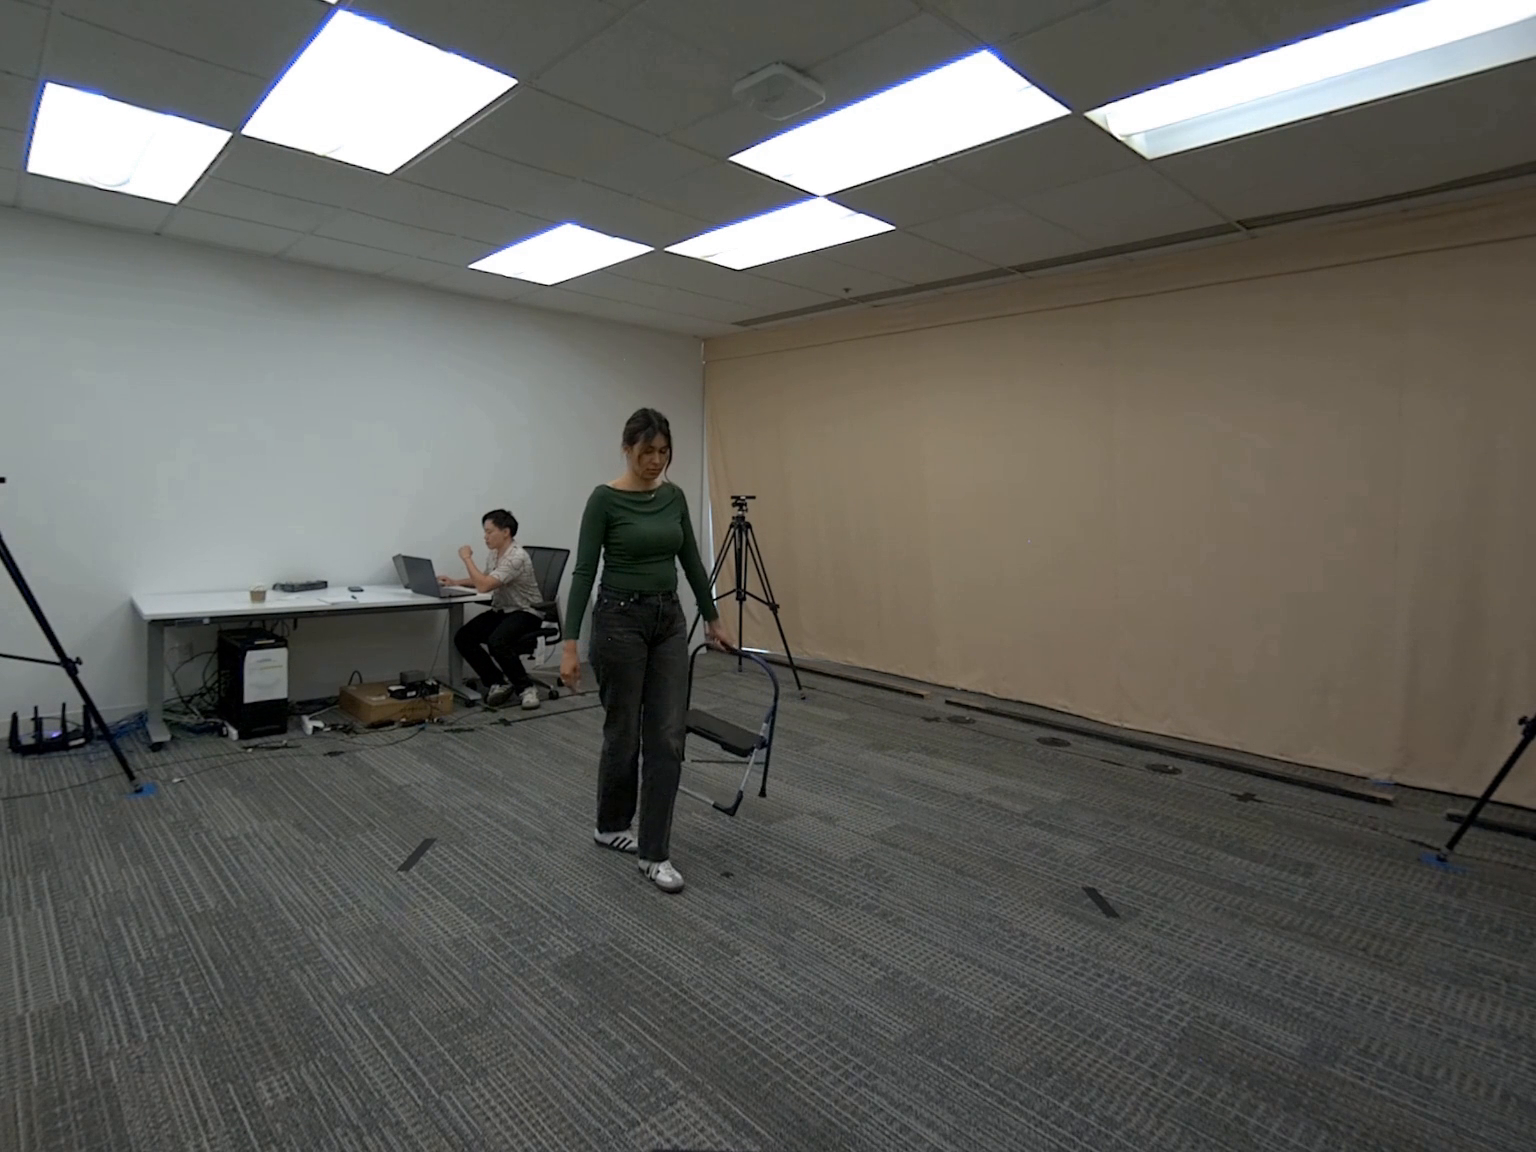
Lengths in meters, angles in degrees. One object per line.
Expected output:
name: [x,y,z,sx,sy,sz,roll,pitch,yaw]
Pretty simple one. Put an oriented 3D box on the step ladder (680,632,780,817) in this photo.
step ladder: [-0.182,0.577,3.420,0.439,0.604,0.343,17,6,21]
